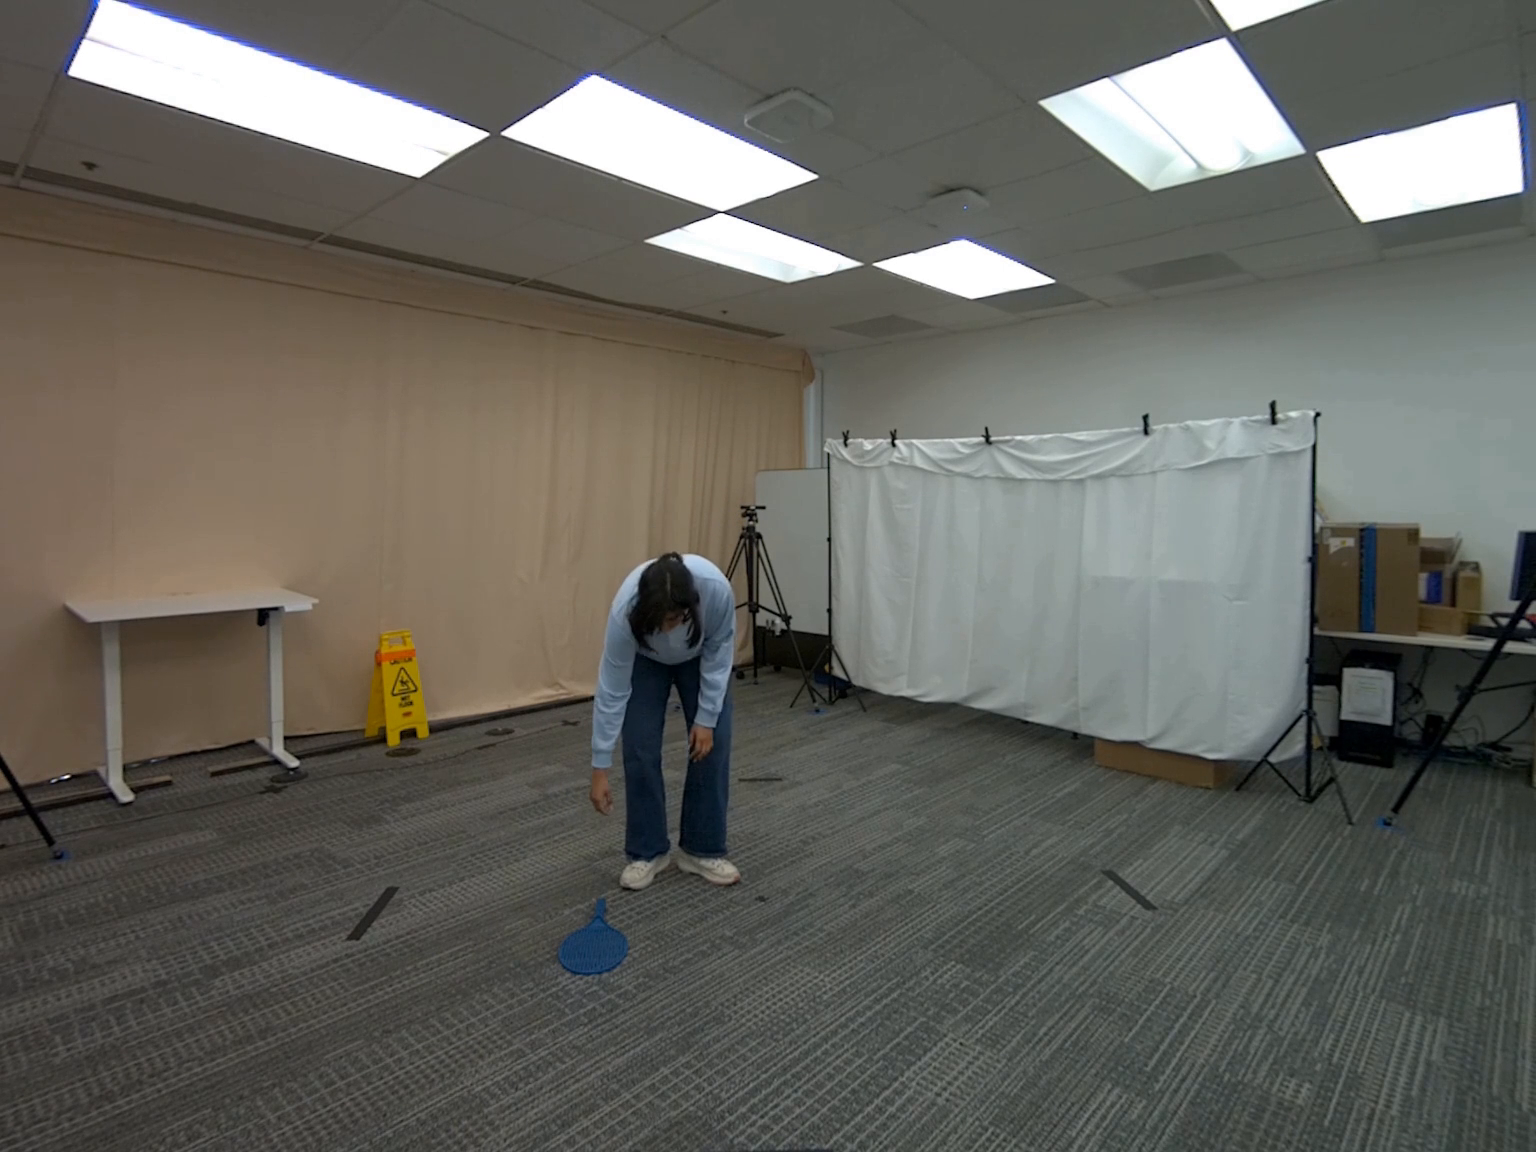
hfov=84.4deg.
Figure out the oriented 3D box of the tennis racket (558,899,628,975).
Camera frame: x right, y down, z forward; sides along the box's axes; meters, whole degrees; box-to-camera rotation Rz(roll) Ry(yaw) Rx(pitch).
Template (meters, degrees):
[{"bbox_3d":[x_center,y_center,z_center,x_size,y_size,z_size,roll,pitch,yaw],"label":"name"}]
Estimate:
[{"bbox_3d":[-0.553,1.152,2.717,0.212,0.031,0.437,-1,5,-8],"label":"tennis racket"}]
